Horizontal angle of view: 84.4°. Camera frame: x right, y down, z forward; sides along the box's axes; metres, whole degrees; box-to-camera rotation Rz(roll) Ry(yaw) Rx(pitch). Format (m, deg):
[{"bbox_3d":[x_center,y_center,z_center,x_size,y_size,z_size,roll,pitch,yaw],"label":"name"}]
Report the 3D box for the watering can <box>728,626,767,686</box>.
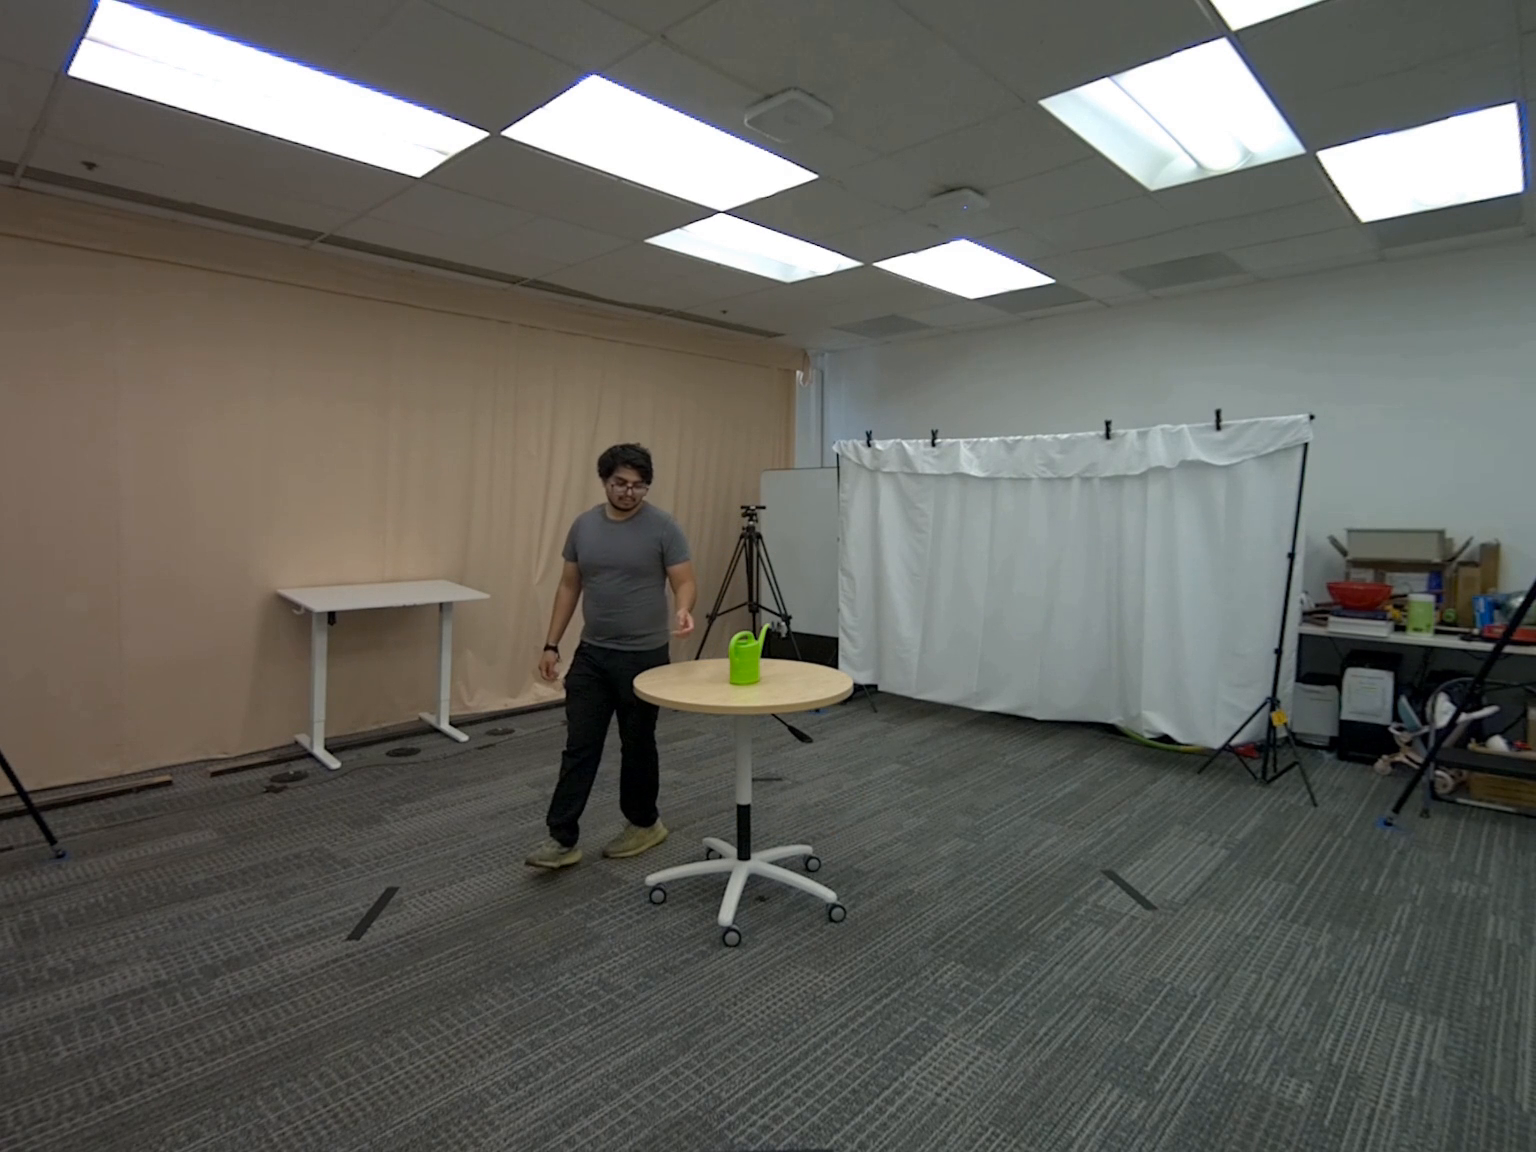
[{"bbox_3d":[-0.048,0.278,2.938,0.101,0.176,0.270,3,7,41],"label":"watering can"}]
